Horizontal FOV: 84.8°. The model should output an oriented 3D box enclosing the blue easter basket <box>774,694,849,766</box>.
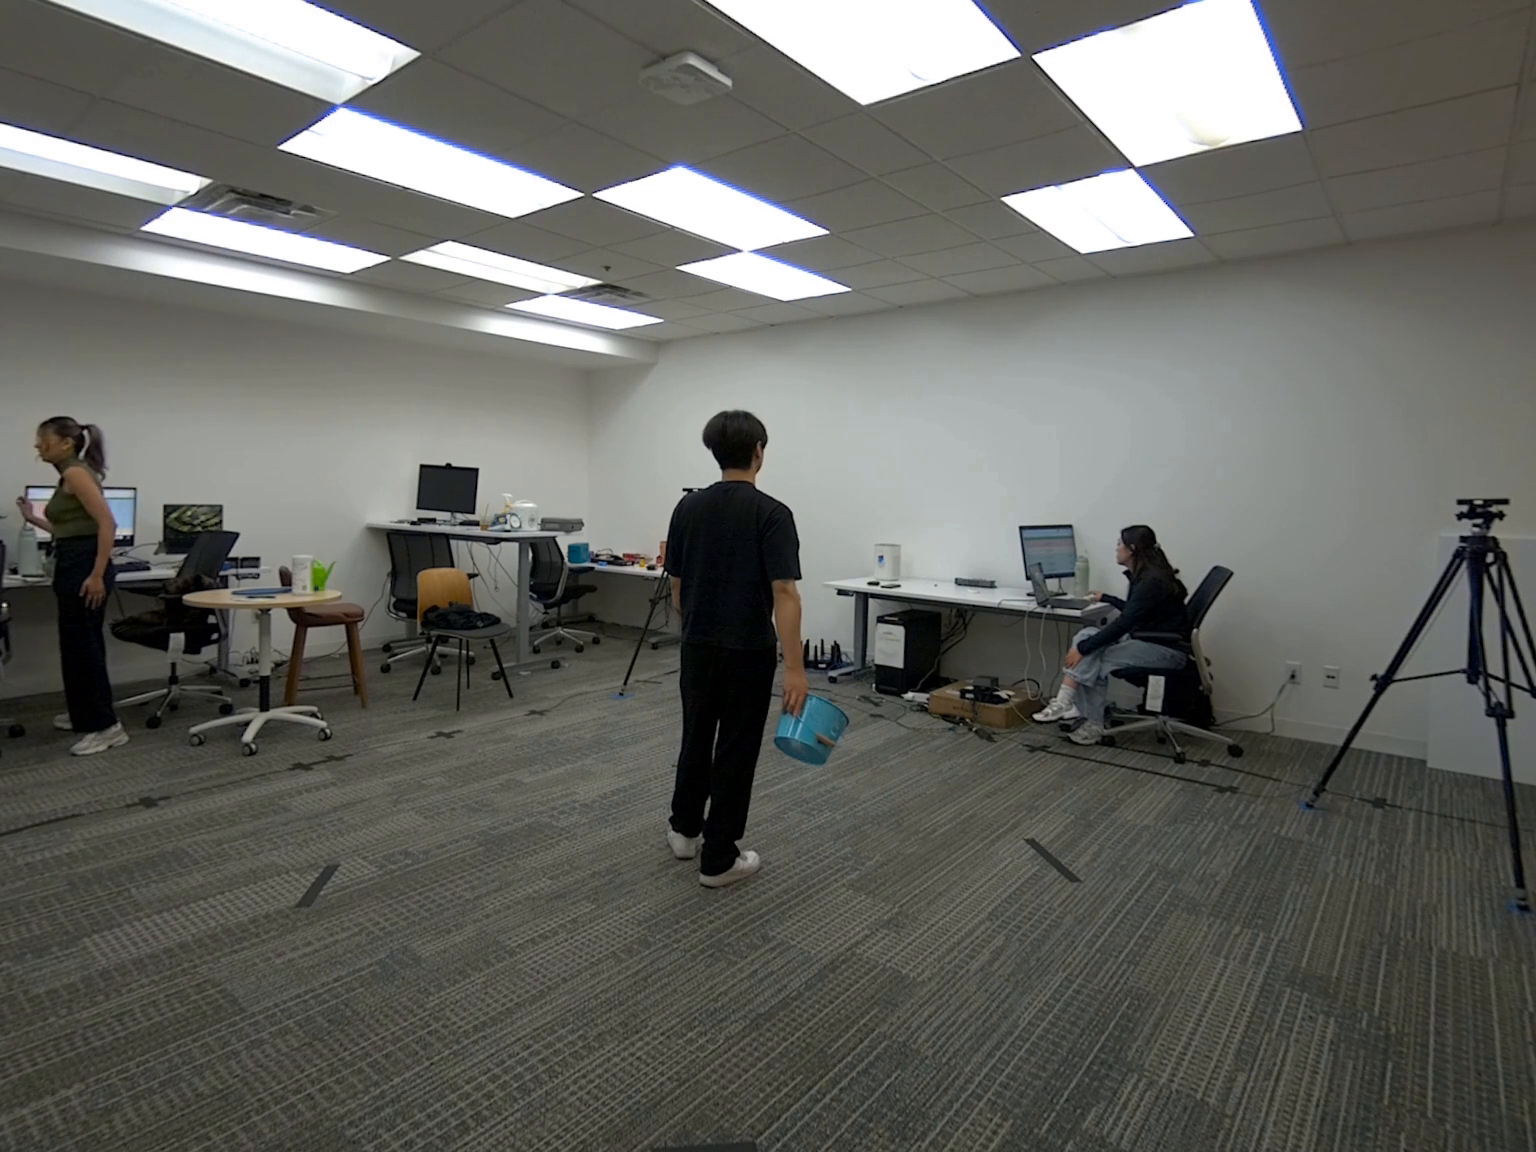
[{"bbox_3d":[0.126,0.495,2.777,0.247,0.157,0.237,21,-30,11],"label":"blue easter basket"}]
